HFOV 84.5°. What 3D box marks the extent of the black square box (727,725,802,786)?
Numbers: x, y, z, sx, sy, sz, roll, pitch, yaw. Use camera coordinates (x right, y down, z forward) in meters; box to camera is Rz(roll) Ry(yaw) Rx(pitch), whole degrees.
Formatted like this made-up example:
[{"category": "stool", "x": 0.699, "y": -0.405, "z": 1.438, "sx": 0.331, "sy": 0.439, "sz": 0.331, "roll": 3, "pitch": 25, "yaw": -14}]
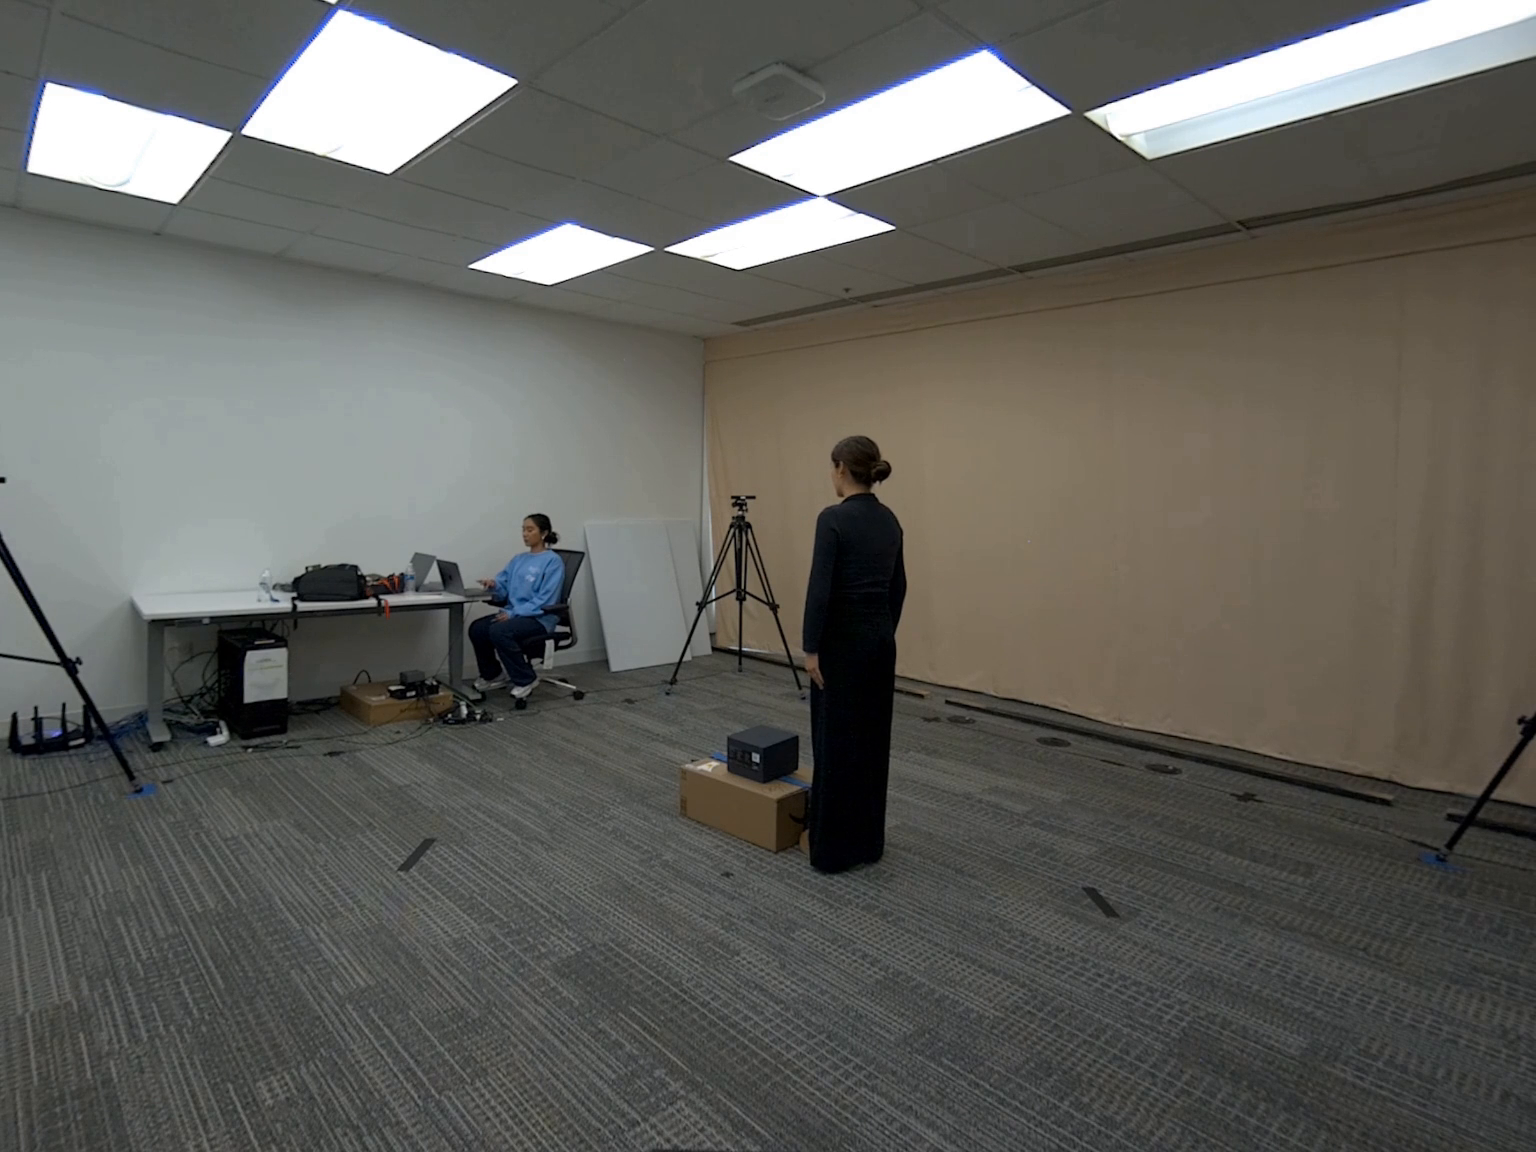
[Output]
[{"category": "black square box", "x": -0.018, "y": 0.759, "z": 3.607, "sx": 0.222, "sy": 0.155, "sz": 0.223, "roll": 6, "pitch": 9, "yaw": 42}]
